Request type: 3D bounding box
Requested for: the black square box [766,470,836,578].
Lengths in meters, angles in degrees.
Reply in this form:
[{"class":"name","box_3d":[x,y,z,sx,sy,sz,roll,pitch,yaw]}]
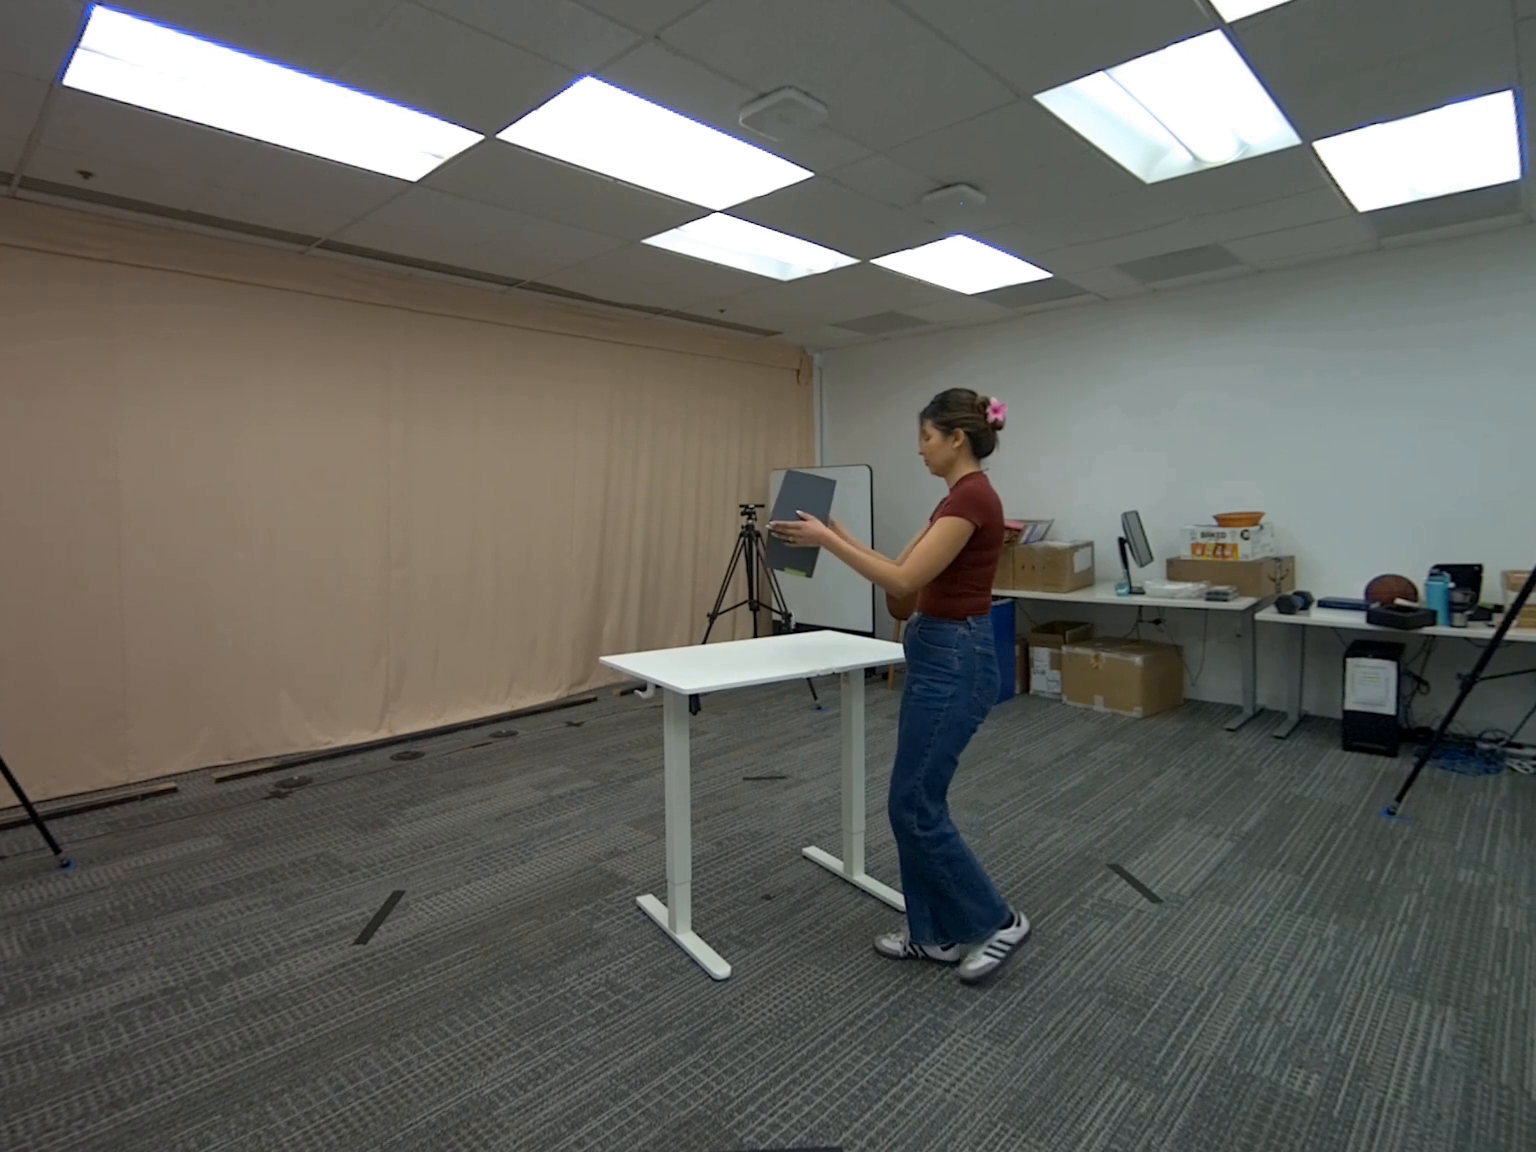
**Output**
[{"class":"black square box","box_3d":[0.100,-0.160,2.597,0.158,0.229,0.213,12,-33,9]}]
